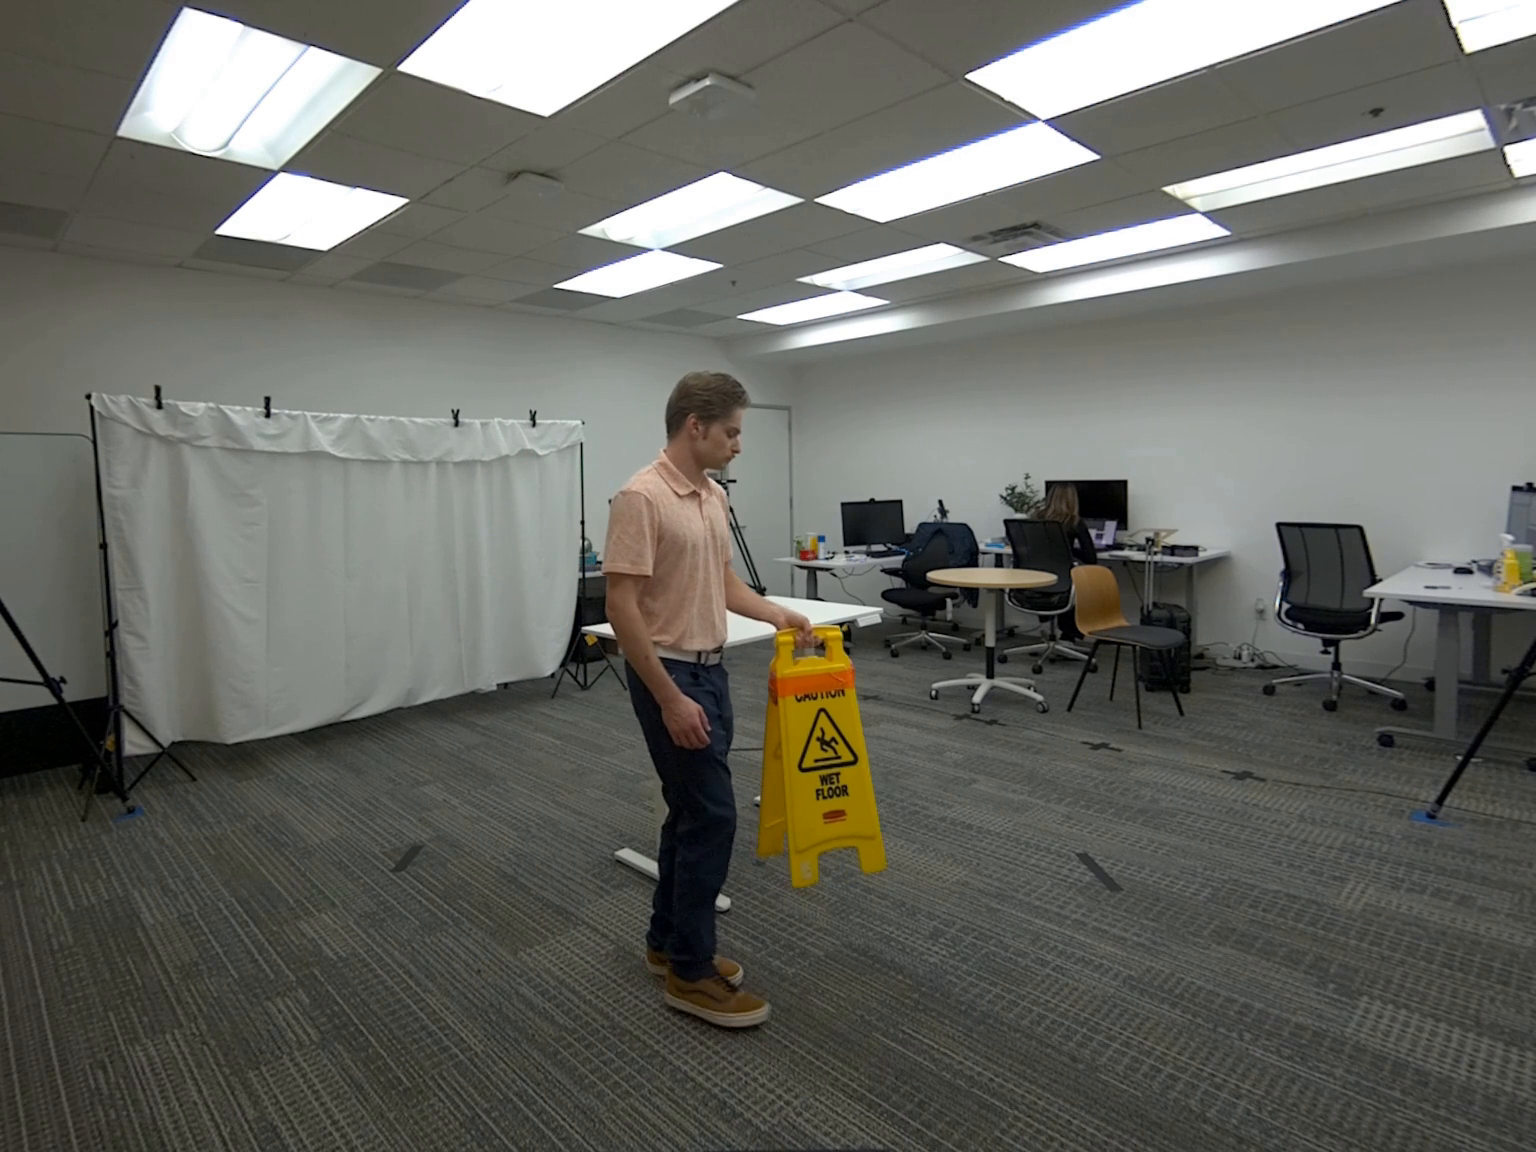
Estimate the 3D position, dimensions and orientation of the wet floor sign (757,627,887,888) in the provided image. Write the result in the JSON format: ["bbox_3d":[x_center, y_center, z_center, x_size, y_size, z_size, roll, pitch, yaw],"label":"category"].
[{"bbox_3d":[0.129,0.468,2.354,0.277,0.647,0.294,-3,-1,-19],"label":"wet floor sign"}]
